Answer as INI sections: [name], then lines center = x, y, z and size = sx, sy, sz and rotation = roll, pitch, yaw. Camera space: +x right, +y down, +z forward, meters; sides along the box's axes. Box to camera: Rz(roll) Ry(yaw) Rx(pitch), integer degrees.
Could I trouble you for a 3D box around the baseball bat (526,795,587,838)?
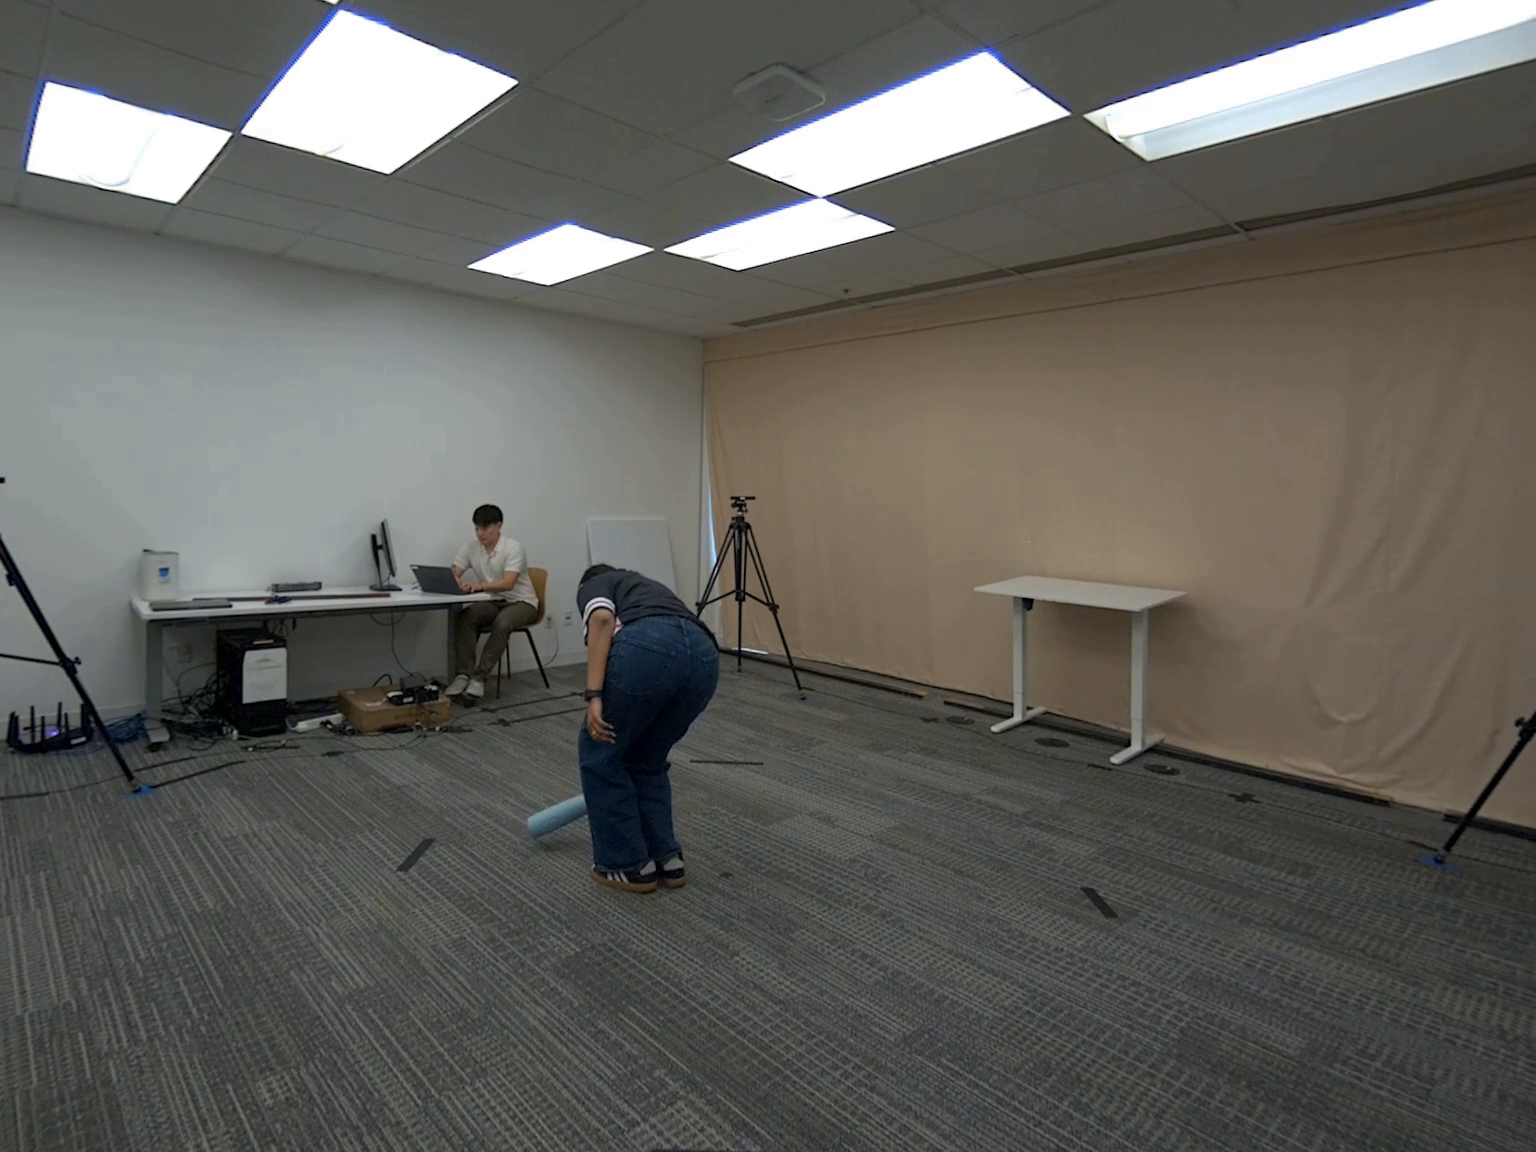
[baseball bat]
center = -0.692, 0.876, 3.337
size = 0.541, 0.088, 0.090
rotation = -22, 7, -6
